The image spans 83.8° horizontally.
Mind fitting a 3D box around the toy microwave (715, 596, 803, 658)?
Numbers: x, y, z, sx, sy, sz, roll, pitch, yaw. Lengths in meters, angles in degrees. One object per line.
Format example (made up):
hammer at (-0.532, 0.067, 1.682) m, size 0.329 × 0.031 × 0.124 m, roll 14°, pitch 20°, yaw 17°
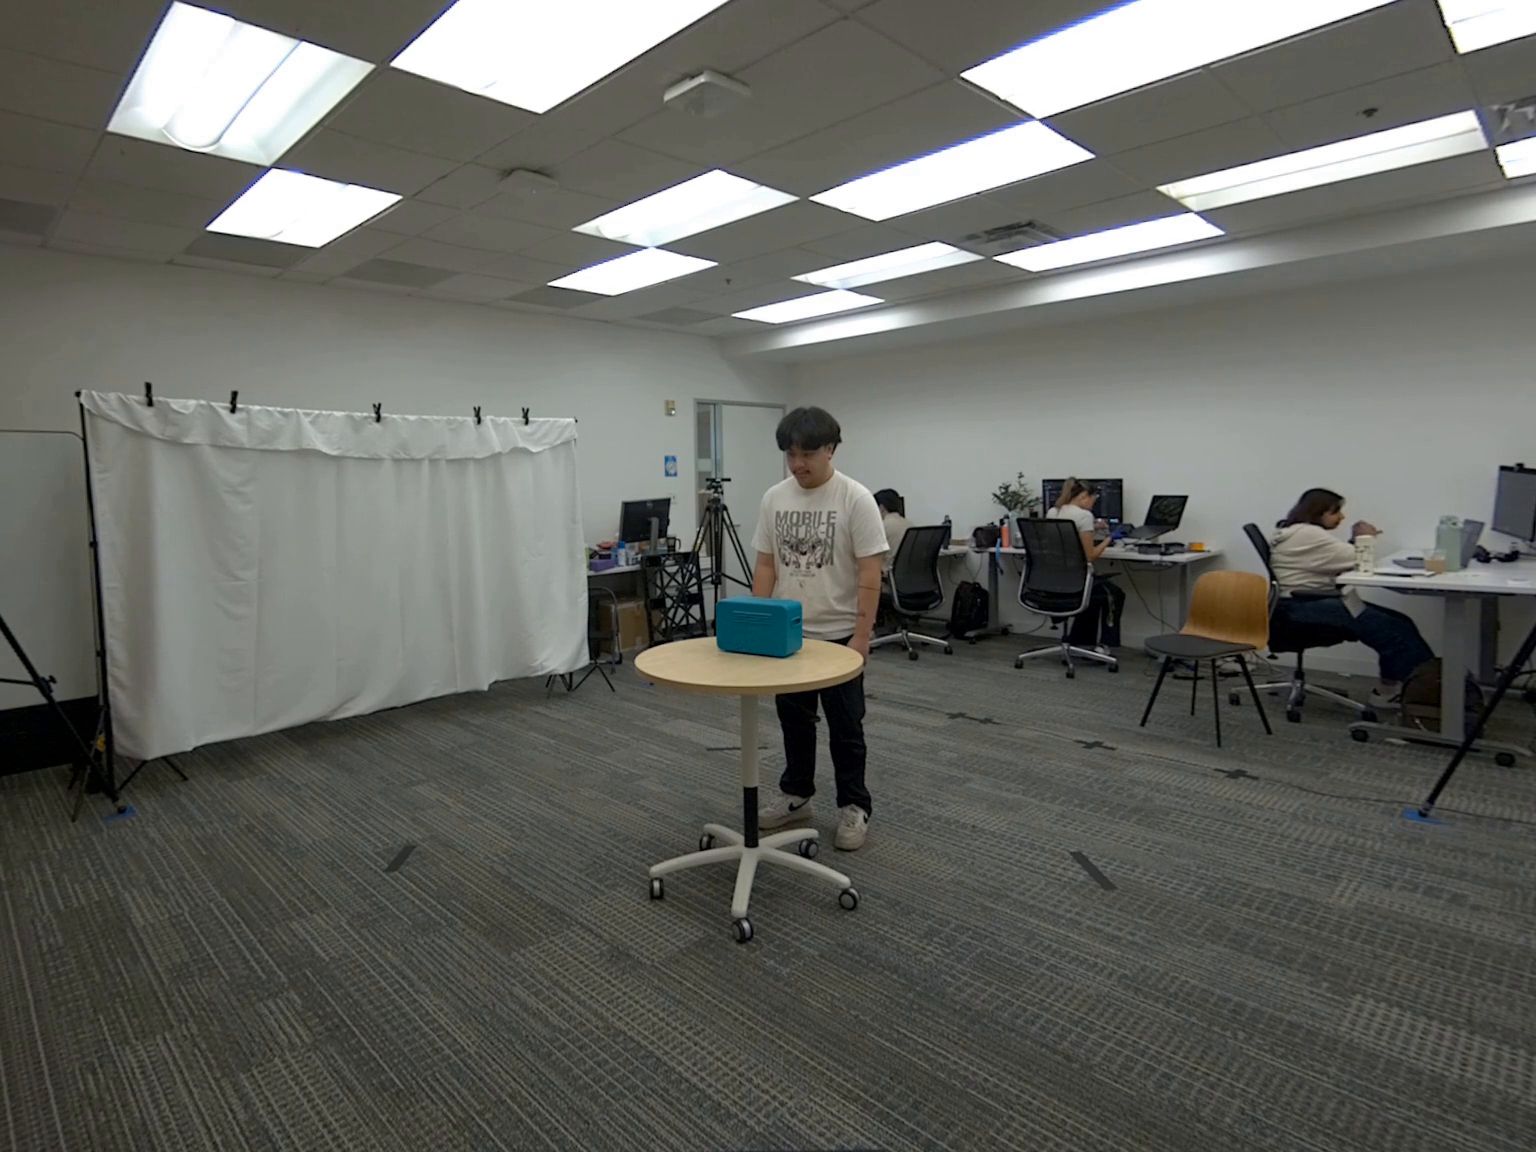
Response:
toy microwave at (-0.026, 0.172, 2.964) m, size 0.294 × 0.183 × 0.149 m, roll 2°, pitch 5°, yaw 31°
